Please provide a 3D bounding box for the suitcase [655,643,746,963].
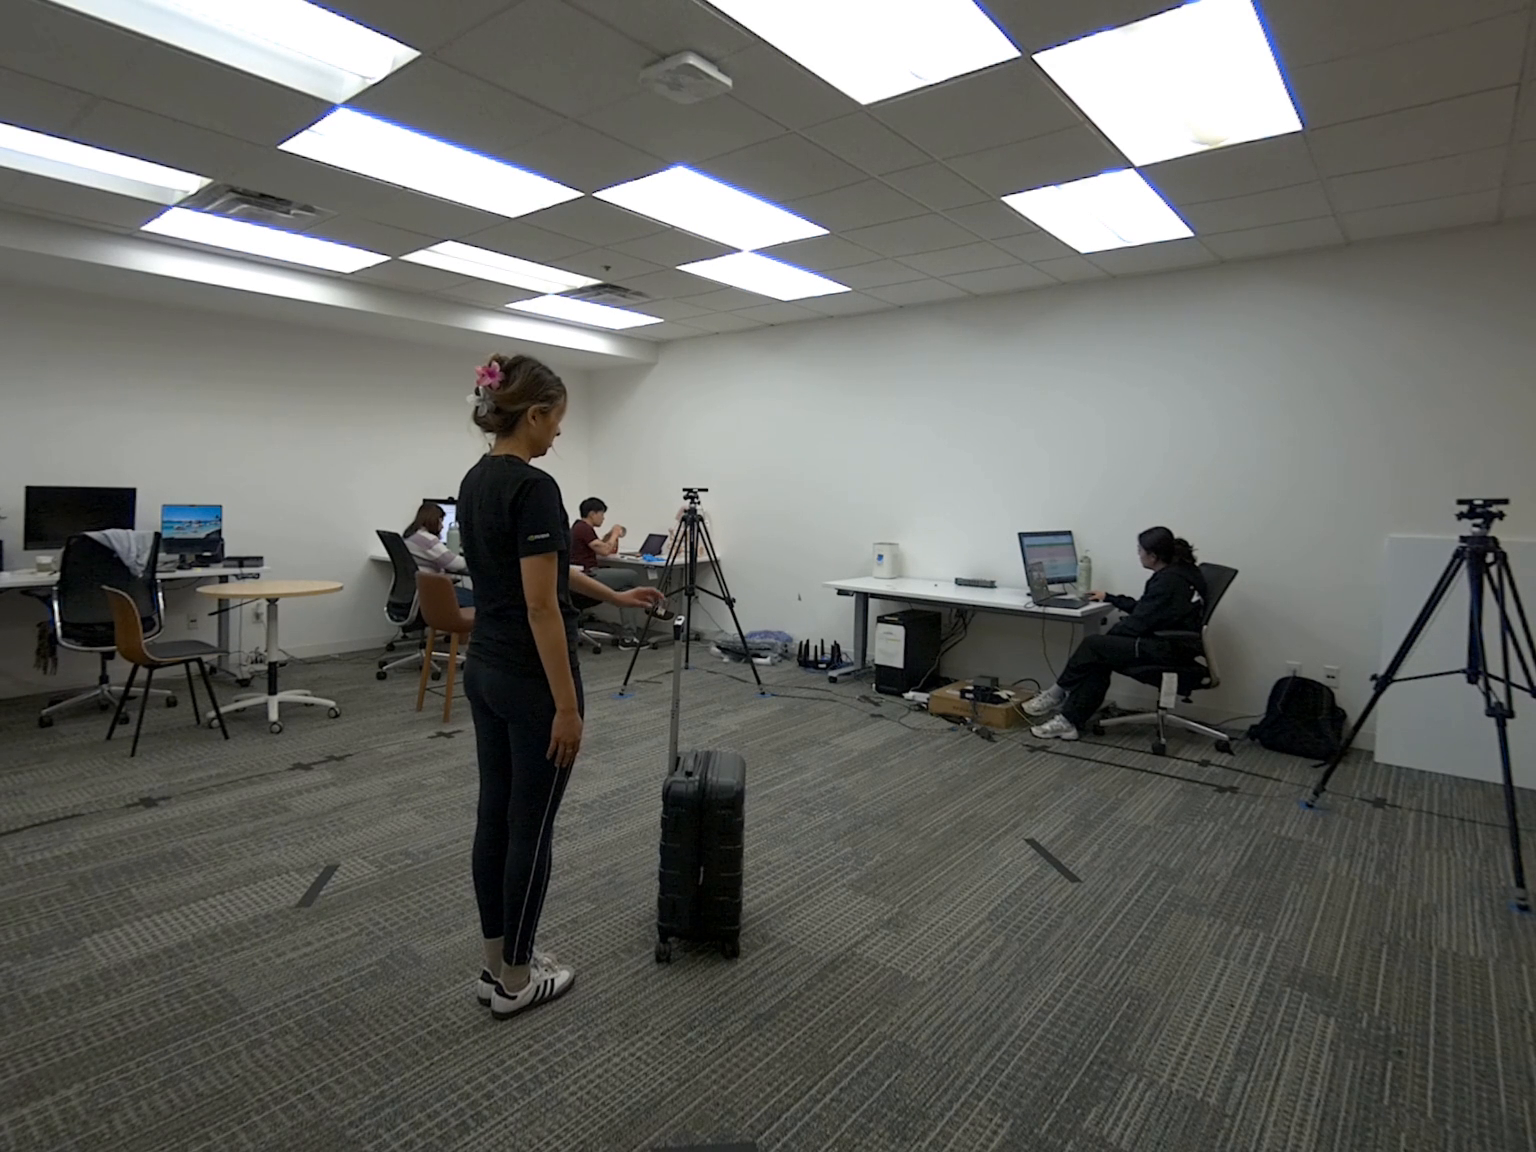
[{"bbox_3d":[-0.198,0.638,2.639,0.256,0.976,0.386,3,3,-3],"label":"suitcase"}]
